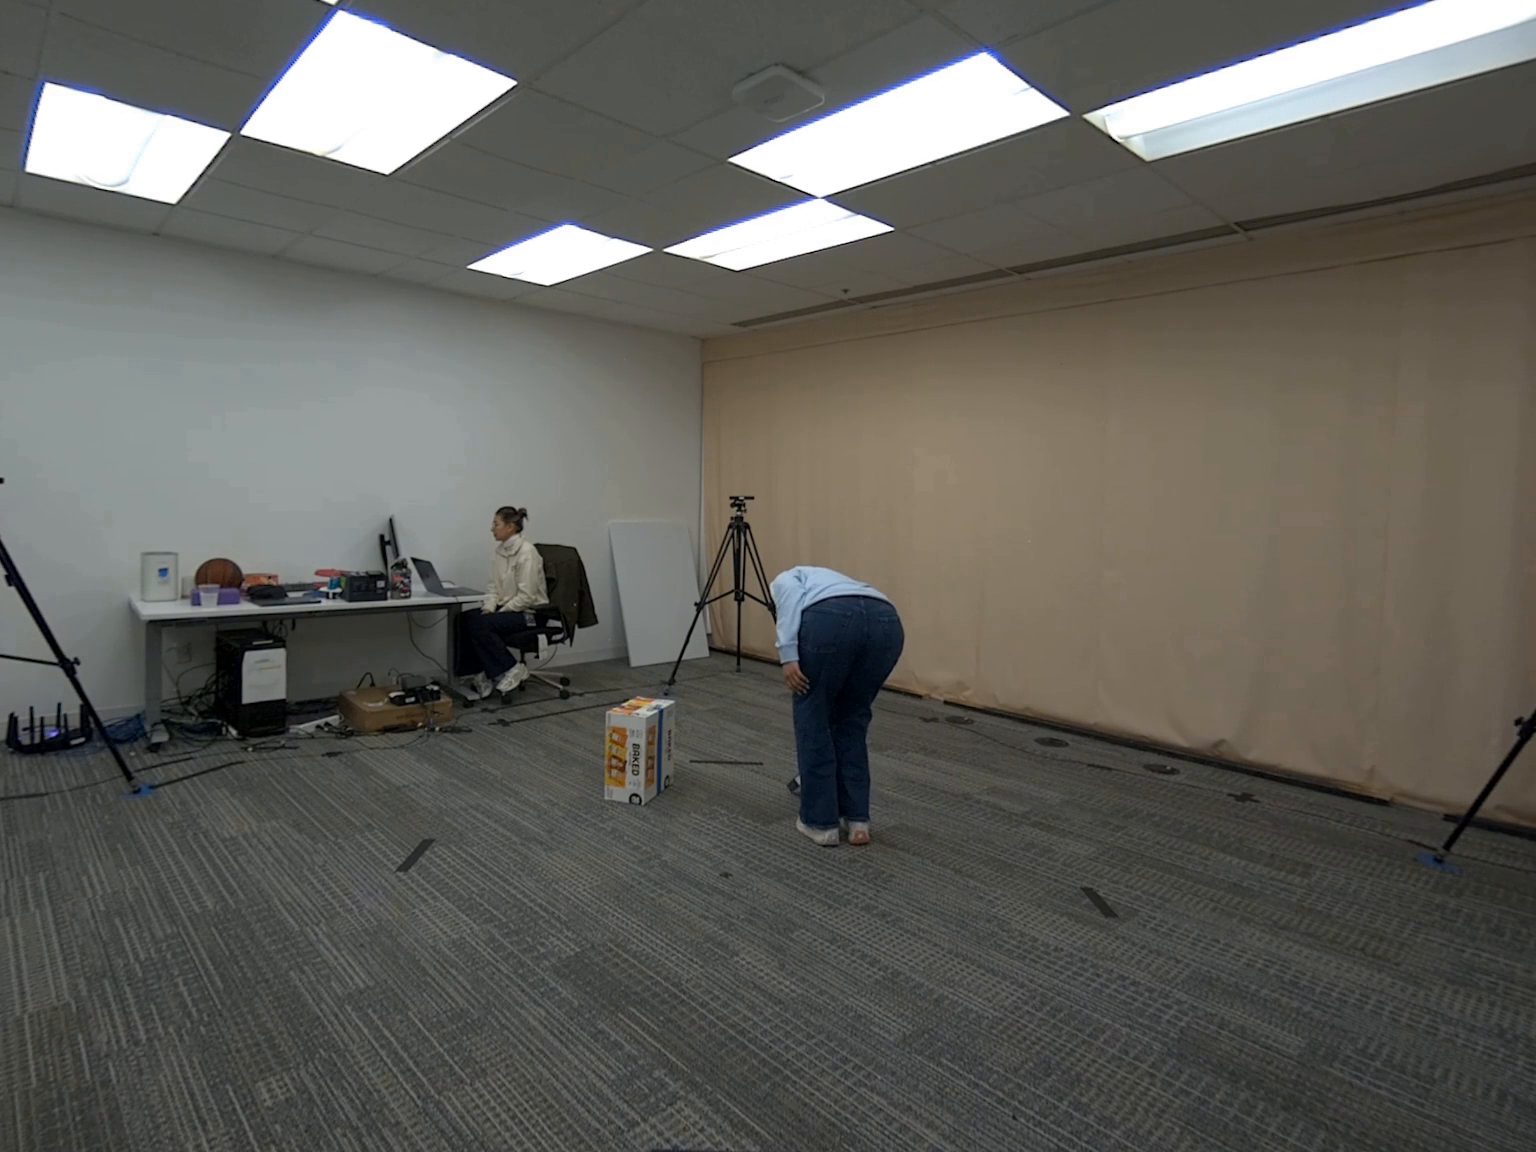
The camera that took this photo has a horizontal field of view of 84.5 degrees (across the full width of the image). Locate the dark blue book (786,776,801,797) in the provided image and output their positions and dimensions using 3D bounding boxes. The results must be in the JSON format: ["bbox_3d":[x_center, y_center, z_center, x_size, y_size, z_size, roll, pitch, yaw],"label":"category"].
[{"bbox_3d":[0.171,0.925,3.922,0.163,0.046,0.242,-35,-14,-17],"label":"dark blue book"}]
